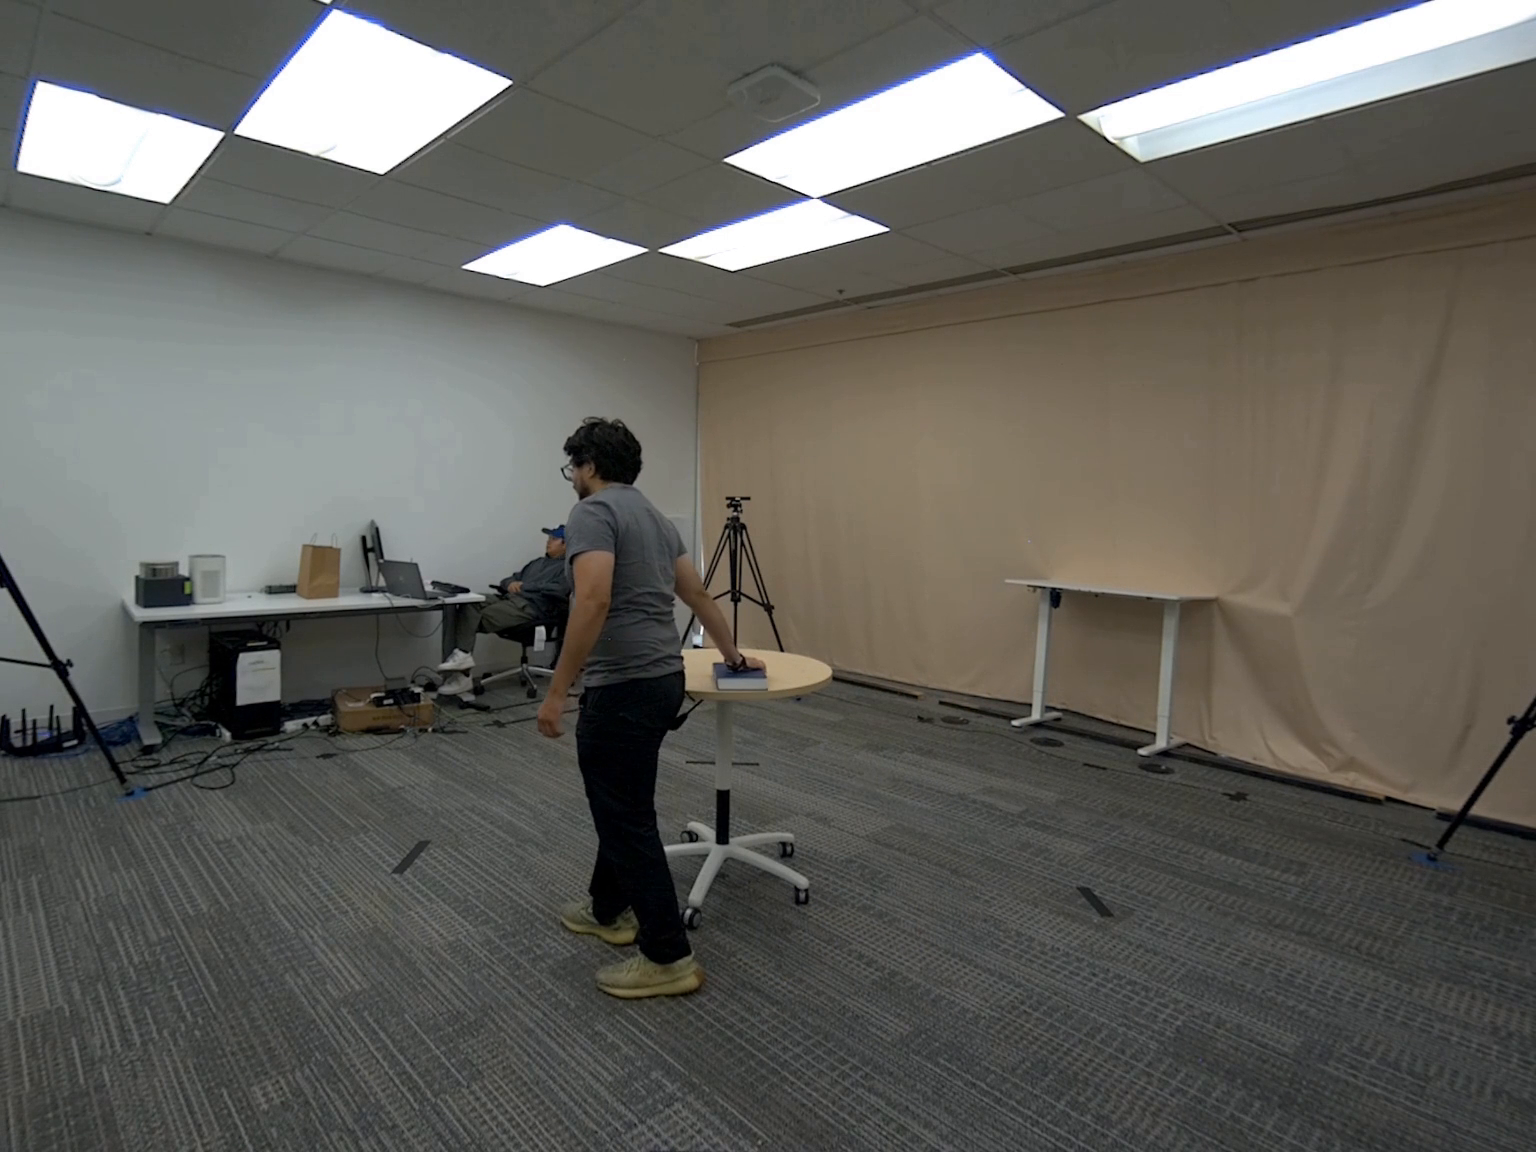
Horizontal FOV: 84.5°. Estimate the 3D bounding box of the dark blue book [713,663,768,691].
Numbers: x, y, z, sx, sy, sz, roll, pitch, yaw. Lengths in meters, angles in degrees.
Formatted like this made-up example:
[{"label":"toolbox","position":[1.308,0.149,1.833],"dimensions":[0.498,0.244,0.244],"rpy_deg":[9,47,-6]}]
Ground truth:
[{"label":"dark blue book","position":[-0.108,0.334,2.785],"dimensions":[0.162,0.045,0.247],"rpy_deg":[0,6,-7]}]
